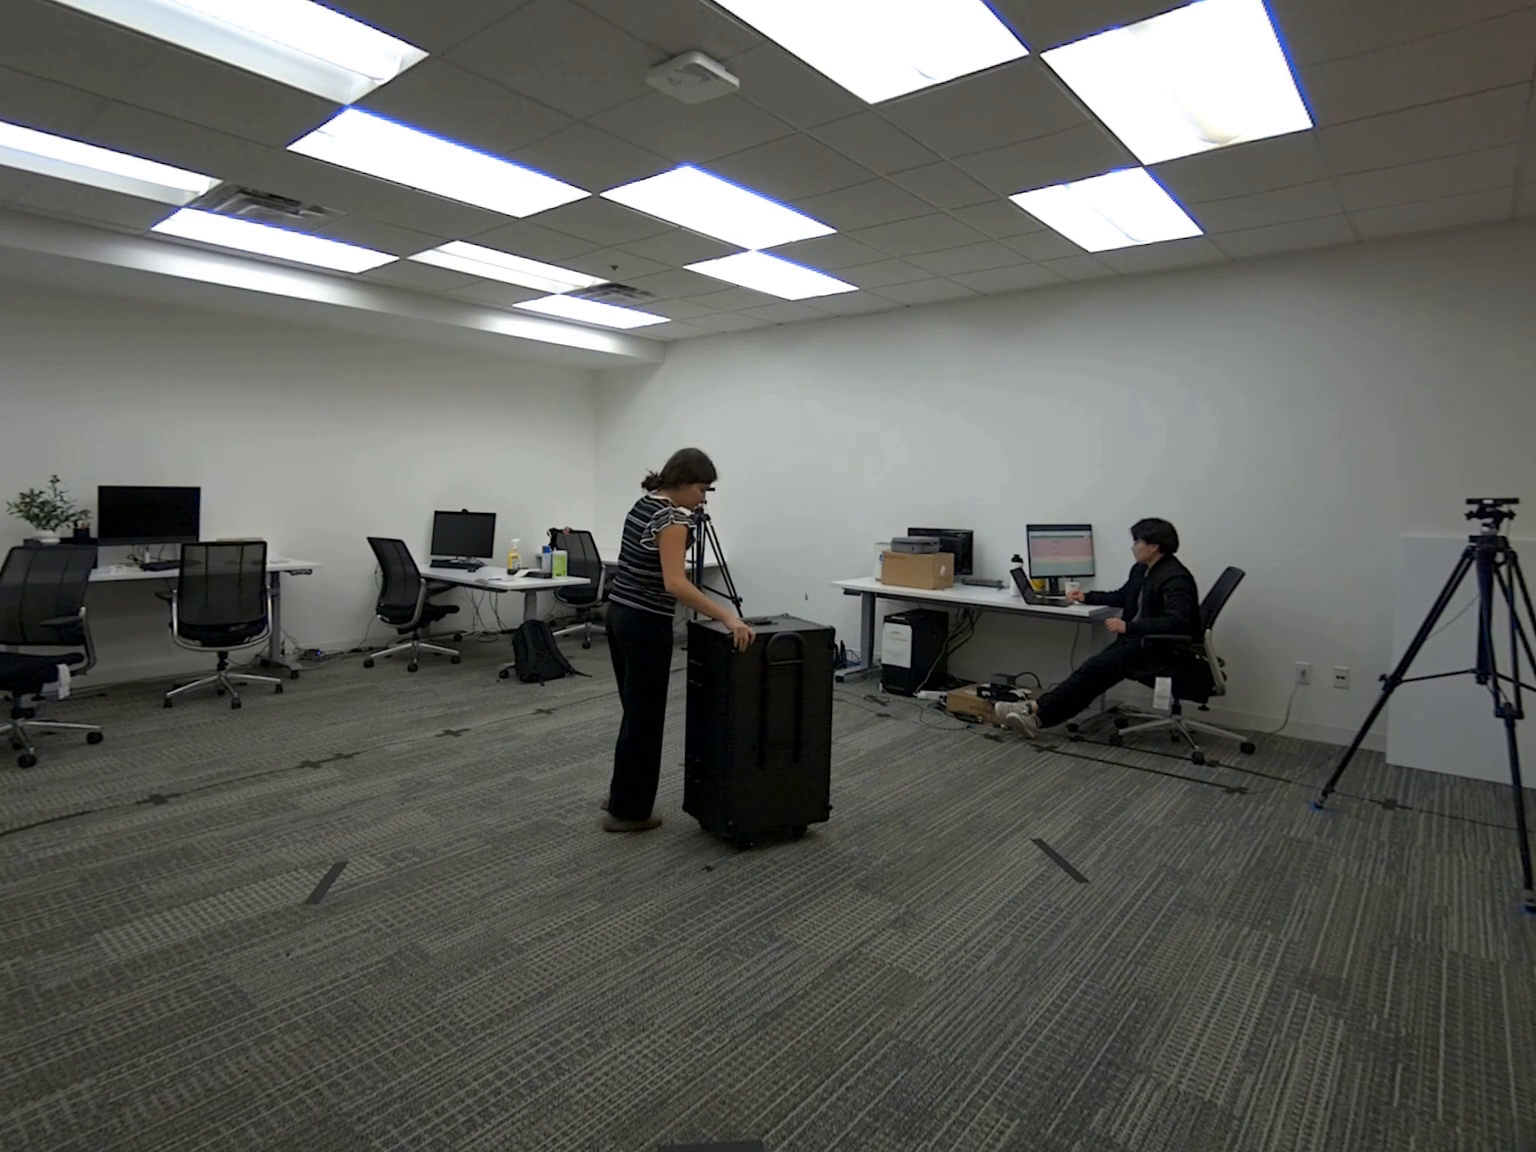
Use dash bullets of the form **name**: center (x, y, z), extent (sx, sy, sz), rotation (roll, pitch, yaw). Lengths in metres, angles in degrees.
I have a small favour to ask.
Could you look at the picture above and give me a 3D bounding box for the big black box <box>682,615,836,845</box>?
- **big black box**: center (-0.042, 0.616, 3.418), extent (0.507, 0.858, 0.409), rotation (-1, 5, -31)
